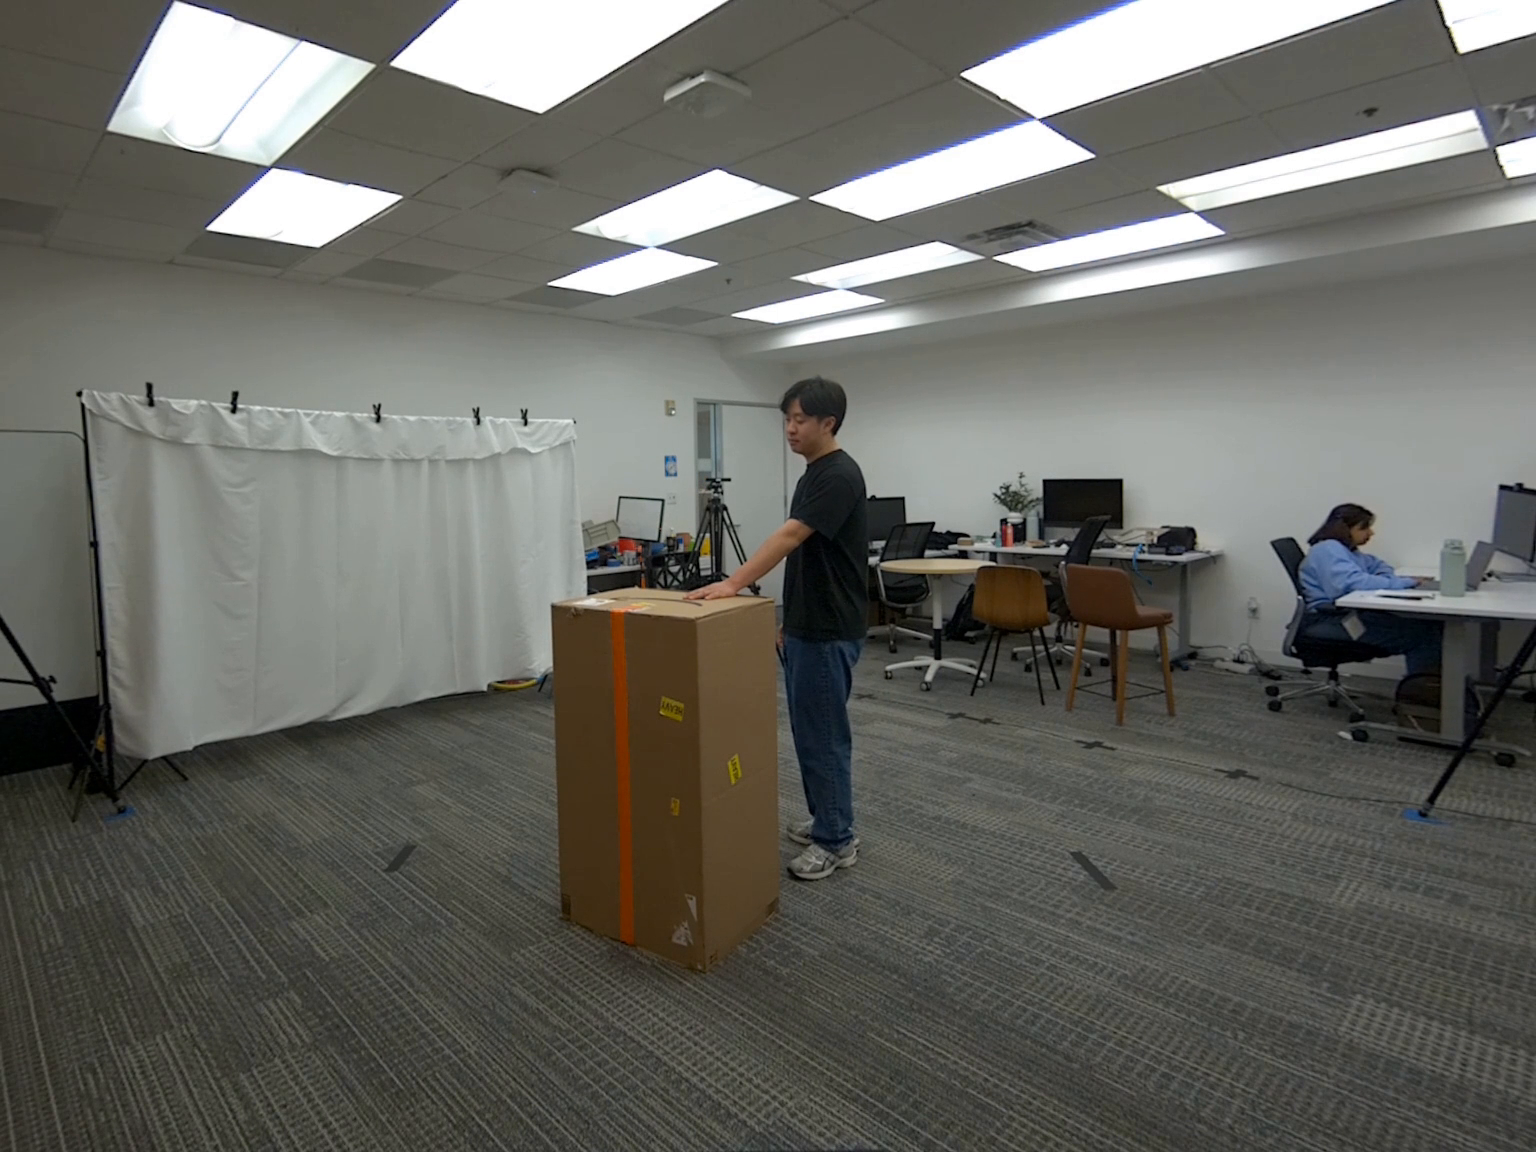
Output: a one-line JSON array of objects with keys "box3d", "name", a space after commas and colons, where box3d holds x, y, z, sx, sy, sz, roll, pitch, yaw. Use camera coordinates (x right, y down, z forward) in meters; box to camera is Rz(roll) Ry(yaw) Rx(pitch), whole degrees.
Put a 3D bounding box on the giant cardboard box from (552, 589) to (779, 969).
[{"box3d": [-0.321, 0.580, 2.713, 0.601, 1.022, 0.436, 2, 6, 35], "name": "giant cardboard box"}]
